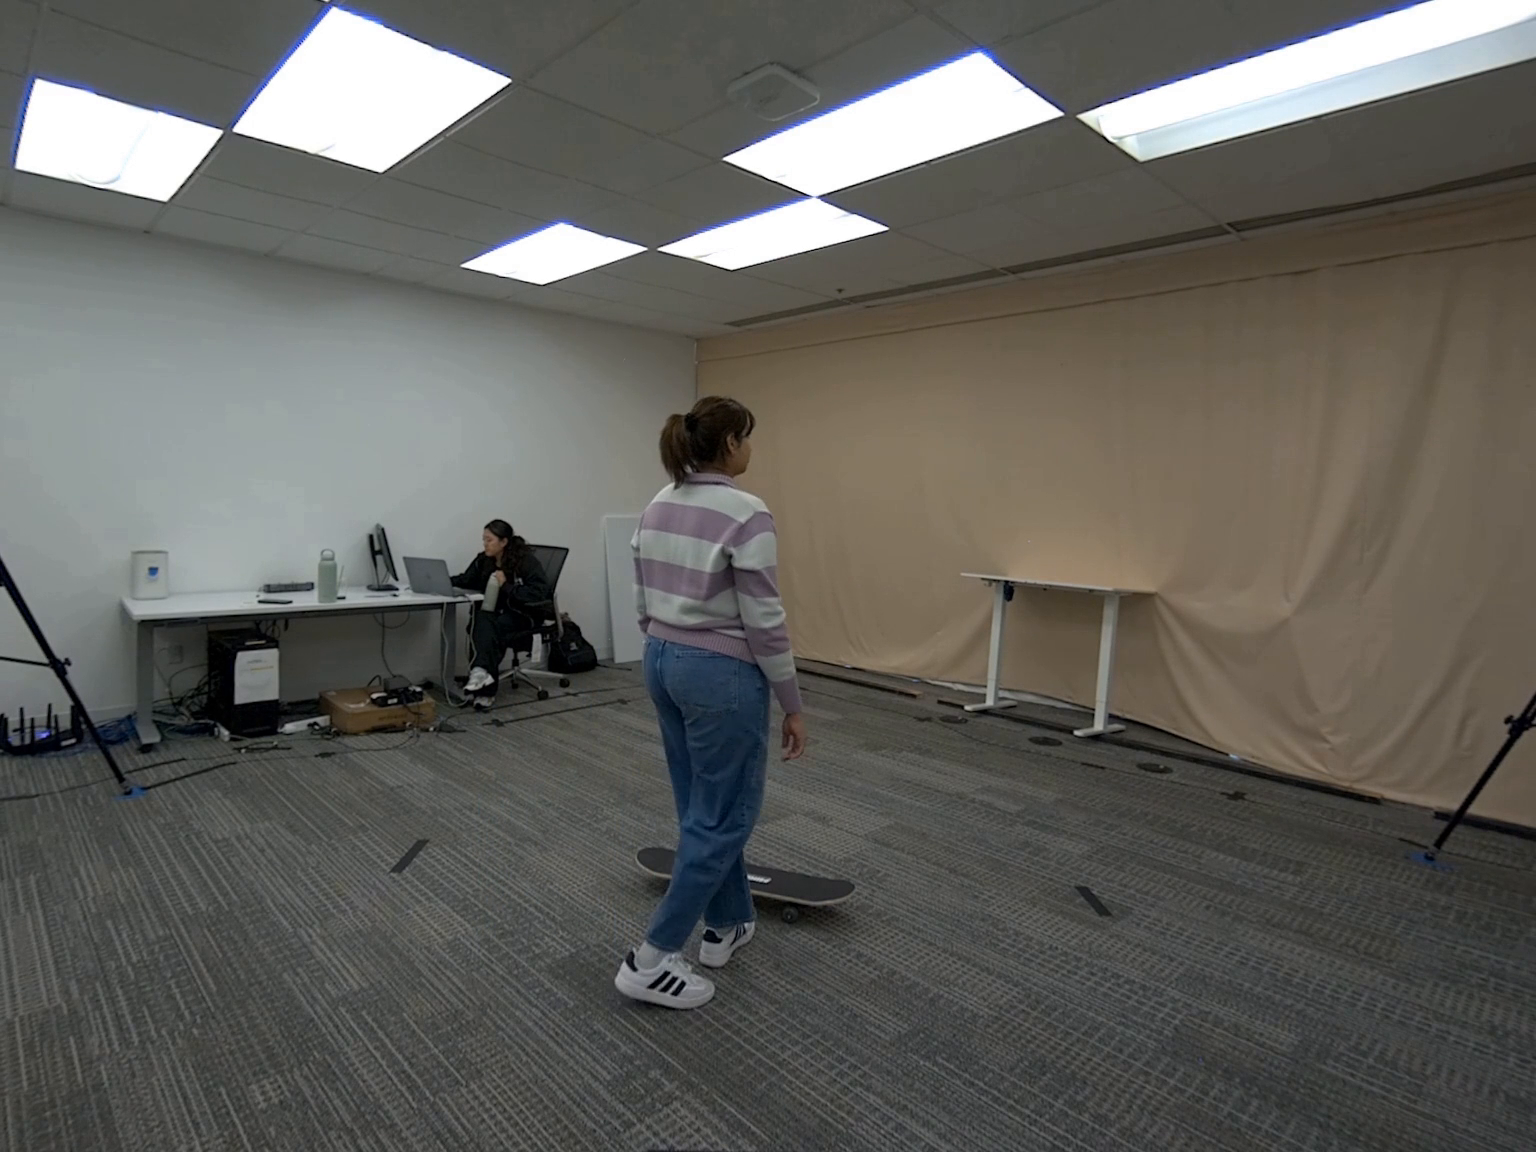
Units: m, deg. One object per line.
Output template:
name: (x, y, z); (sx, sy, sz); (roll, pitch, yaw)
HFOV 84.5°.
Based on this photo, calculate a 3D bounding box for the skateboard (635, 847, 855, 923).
skateboard: (-0.099, 1.066, 2.902); (0.798, 0.110, 0.191); (3, 5, 20)
